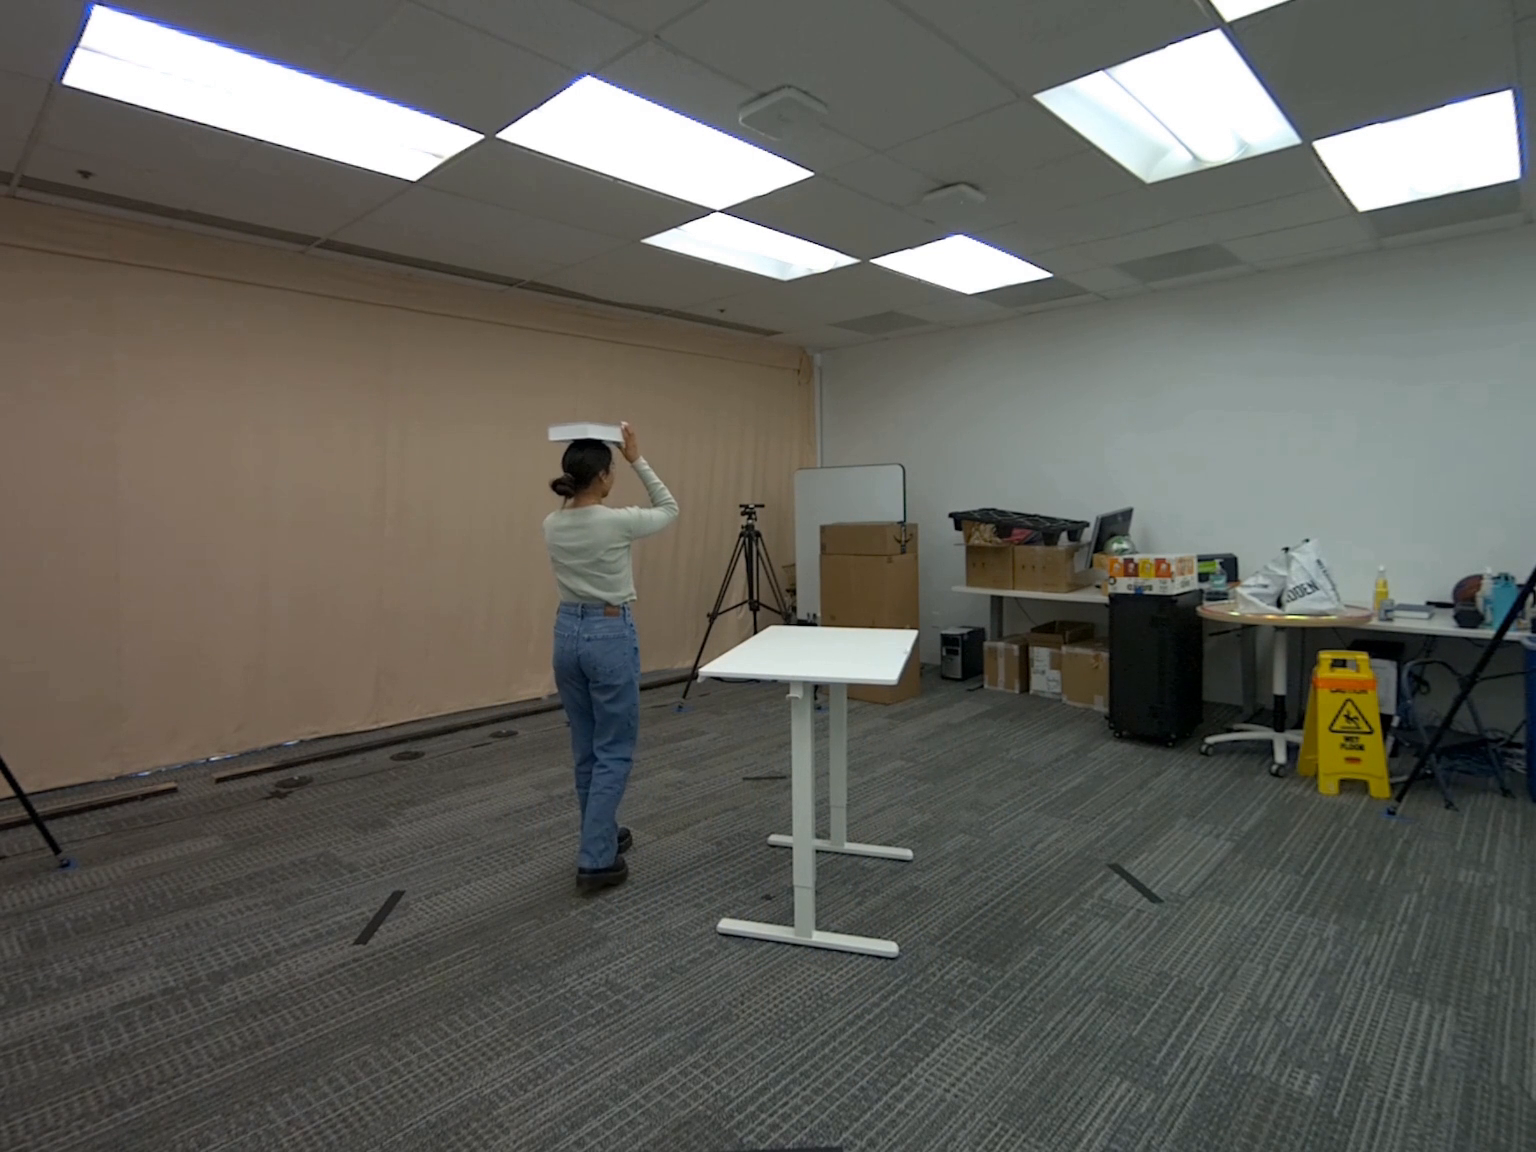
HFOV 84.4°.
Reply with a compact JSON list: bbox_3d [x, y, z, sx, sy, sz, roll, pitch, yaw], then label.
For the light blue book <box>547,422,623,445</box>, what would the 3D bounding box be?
[{"bbox_3d":[-0.679,-0.540,3.190,0.196,0.059,0.255,0,5,23],"label":"light blue book"}]
